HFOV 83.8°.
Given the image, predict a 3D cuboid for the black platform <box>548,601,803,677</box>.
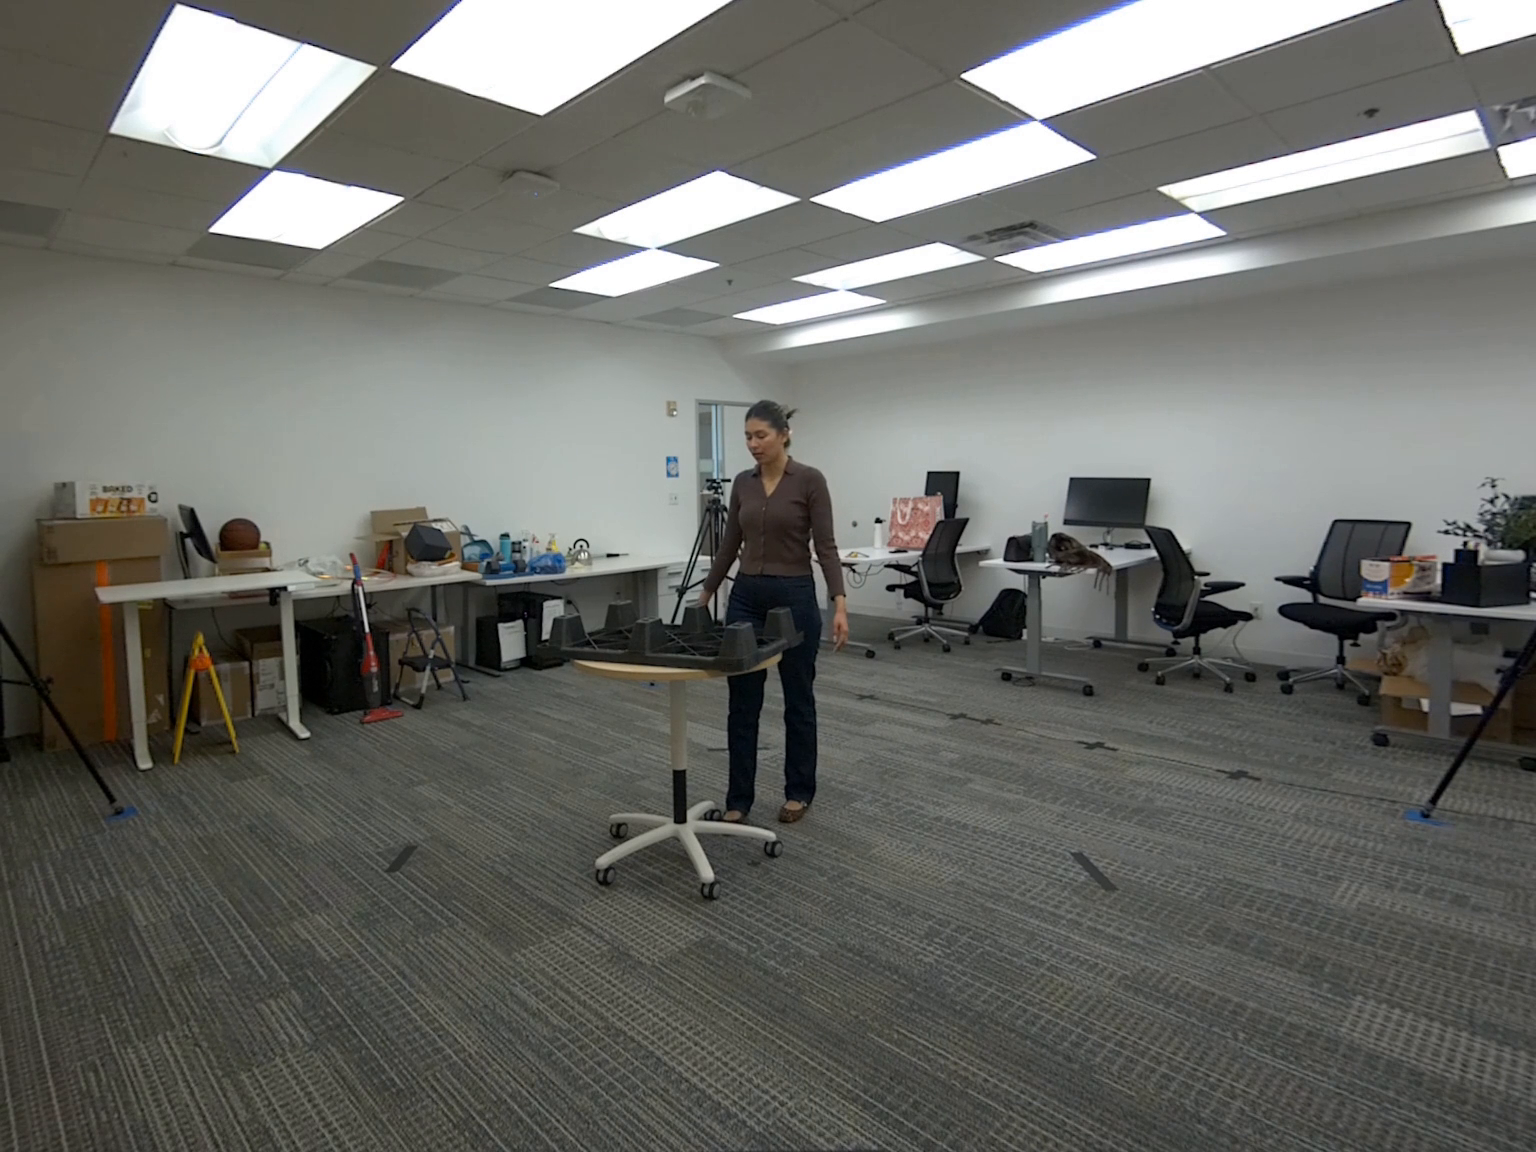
[{"bbox_3d":[-0.336,0.201,3.122,0.823,0.143,0.594,2,6,23],"label":"black platform"}]
